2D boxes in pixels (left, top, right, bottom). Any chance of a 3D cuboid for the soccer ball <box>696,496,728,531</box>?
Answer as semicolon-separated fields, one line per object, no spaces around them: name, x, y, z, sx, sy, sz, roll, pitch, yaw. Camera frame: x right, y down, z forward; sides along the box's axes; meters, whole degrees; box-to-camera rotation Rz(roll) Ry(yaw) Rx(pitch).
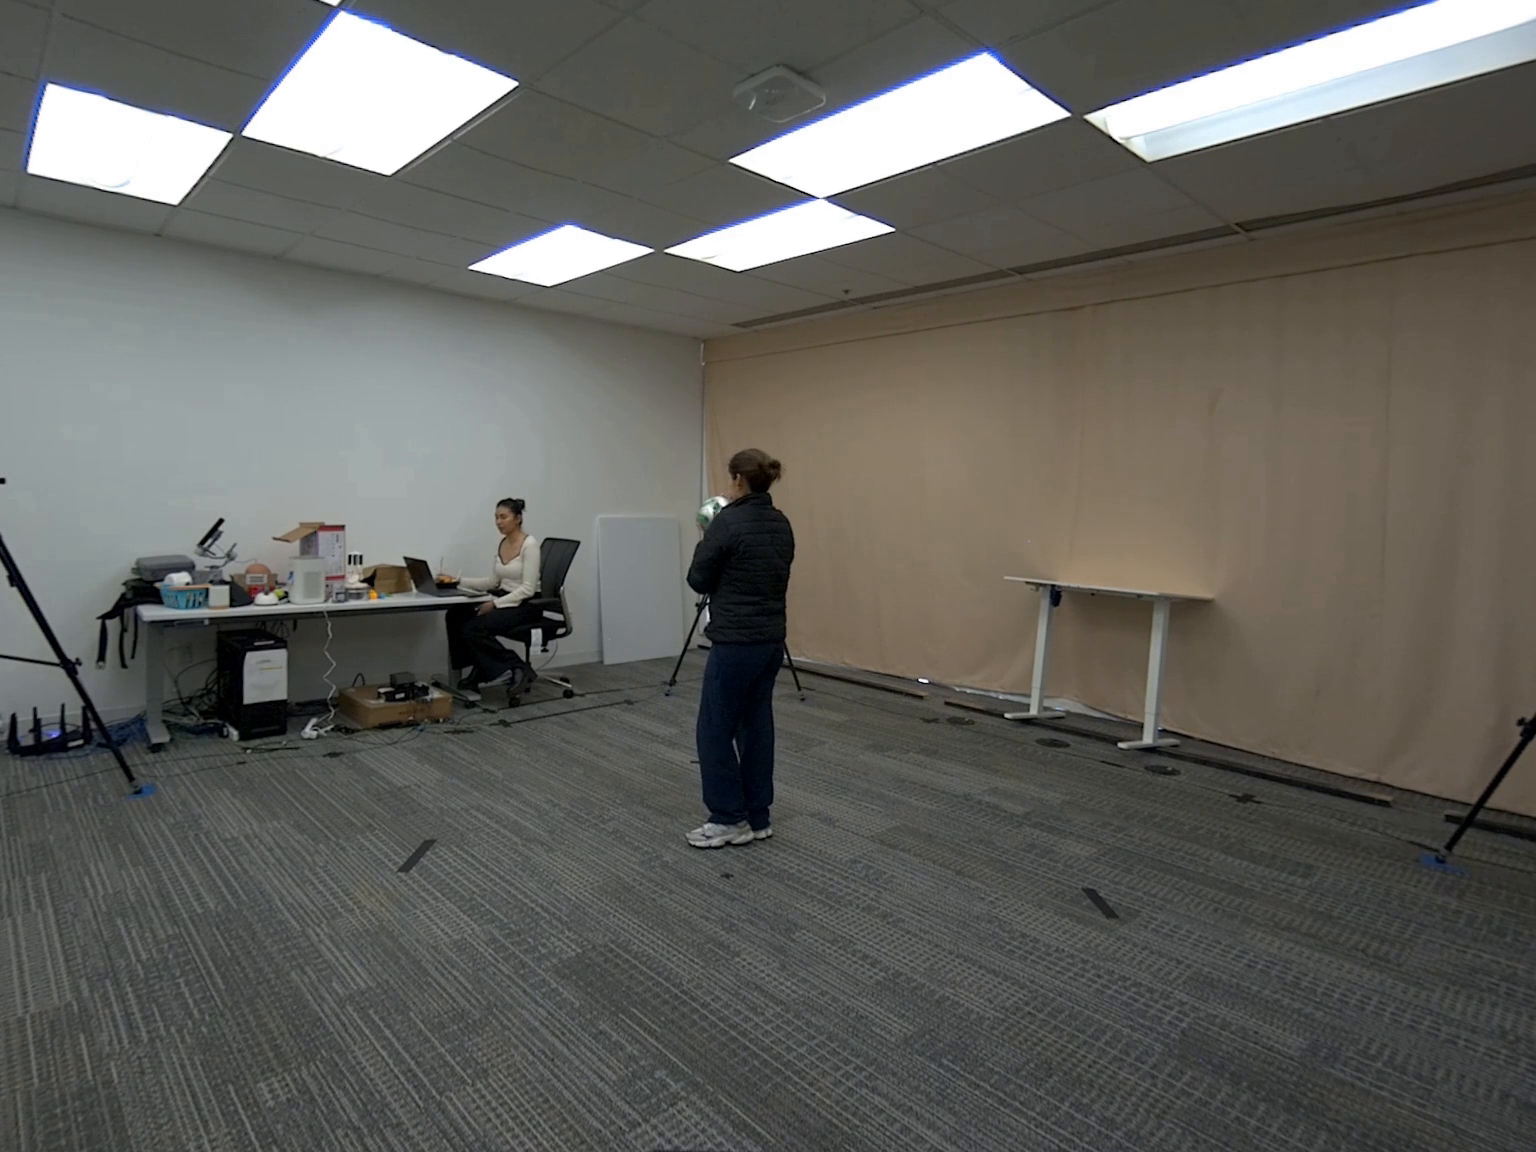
soccer ball;-0.214;-0.260;3.649;0.187;0.187;0.188;1;4;-1
